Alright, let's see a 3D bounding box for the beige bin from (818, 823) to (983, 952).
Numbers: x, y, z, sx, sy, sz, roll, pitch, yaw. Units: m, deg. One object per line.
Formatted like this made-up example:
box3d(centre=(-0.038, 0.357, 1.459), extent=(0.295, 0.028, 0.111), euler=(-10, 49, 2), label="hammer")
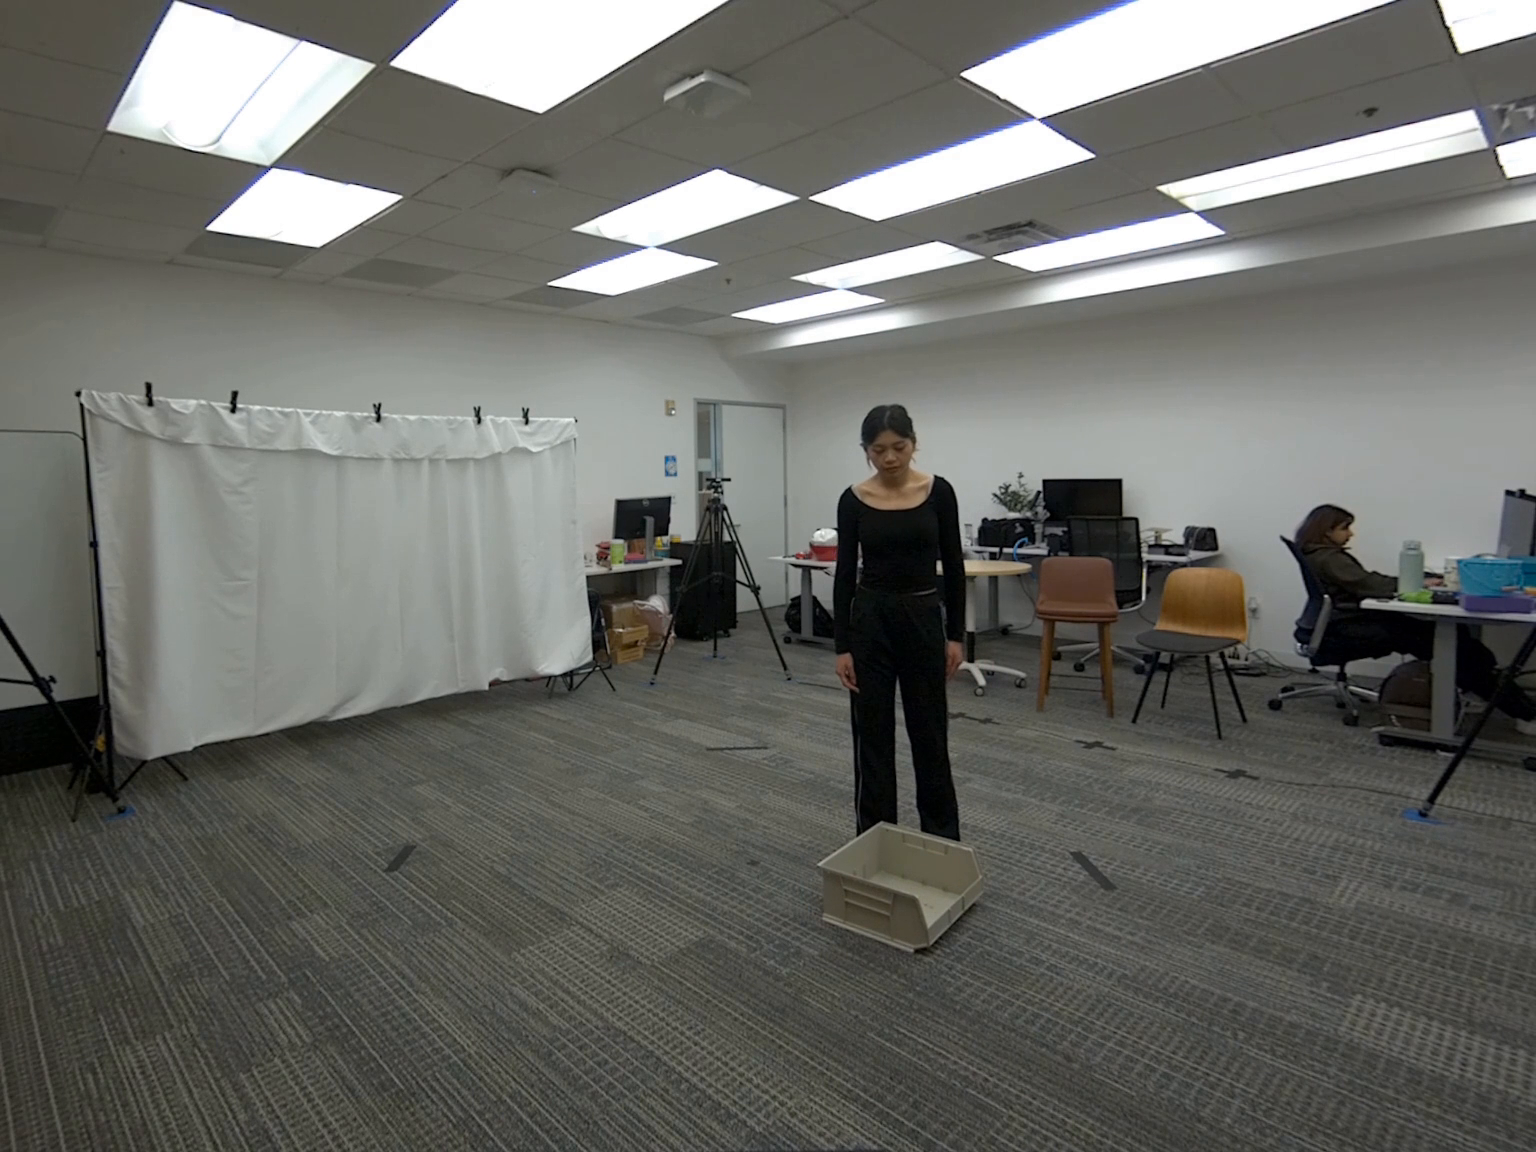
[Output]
box3d(centre=(0.432, 0.986, 2.738), extent=(0.388, 0.188, 0.412), euler=(2, 7, 36), label="beige bin")
